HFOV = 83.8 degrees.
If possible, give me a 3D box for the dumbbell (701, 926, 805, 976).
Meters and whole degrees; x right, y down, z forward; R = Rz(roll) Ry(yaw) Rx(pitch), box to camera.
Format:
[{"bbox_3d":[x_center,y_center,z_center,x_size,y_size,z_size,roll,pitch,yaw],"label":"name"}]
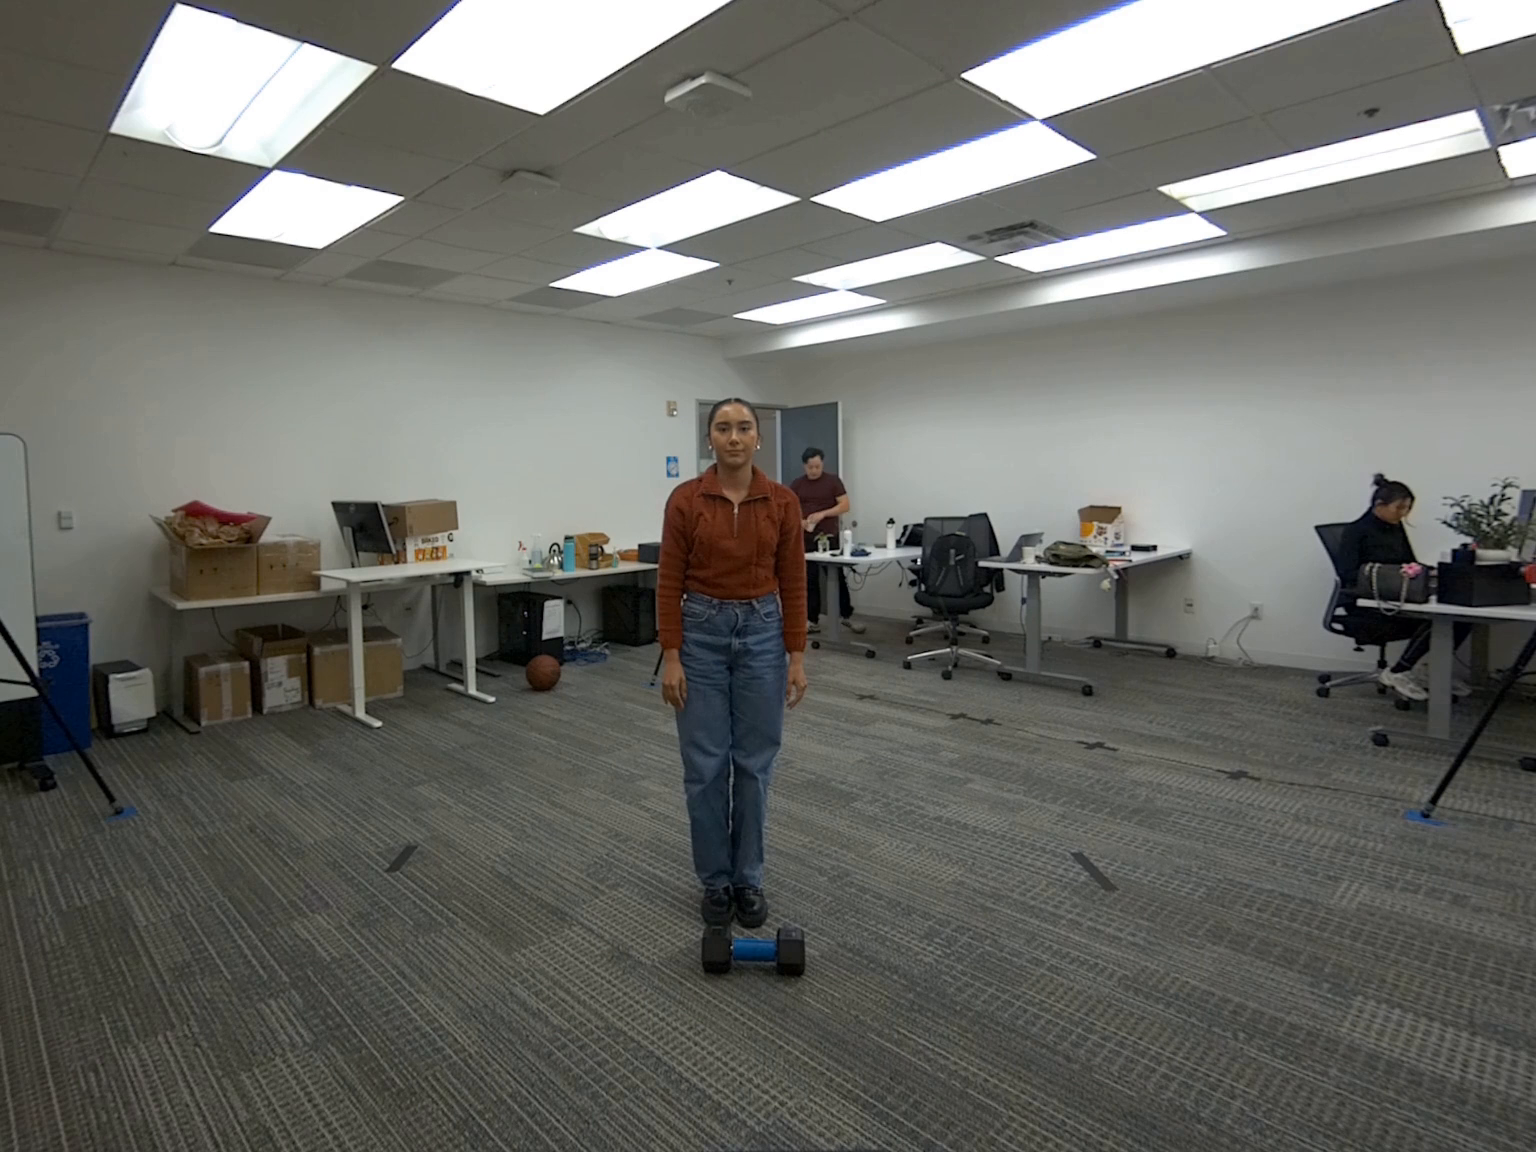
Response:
[{"bbox_3d":[-0.038,1.073,2.440,0.295,0.125,0.106,-1,-26,5],"label":"dumbbell"}]
